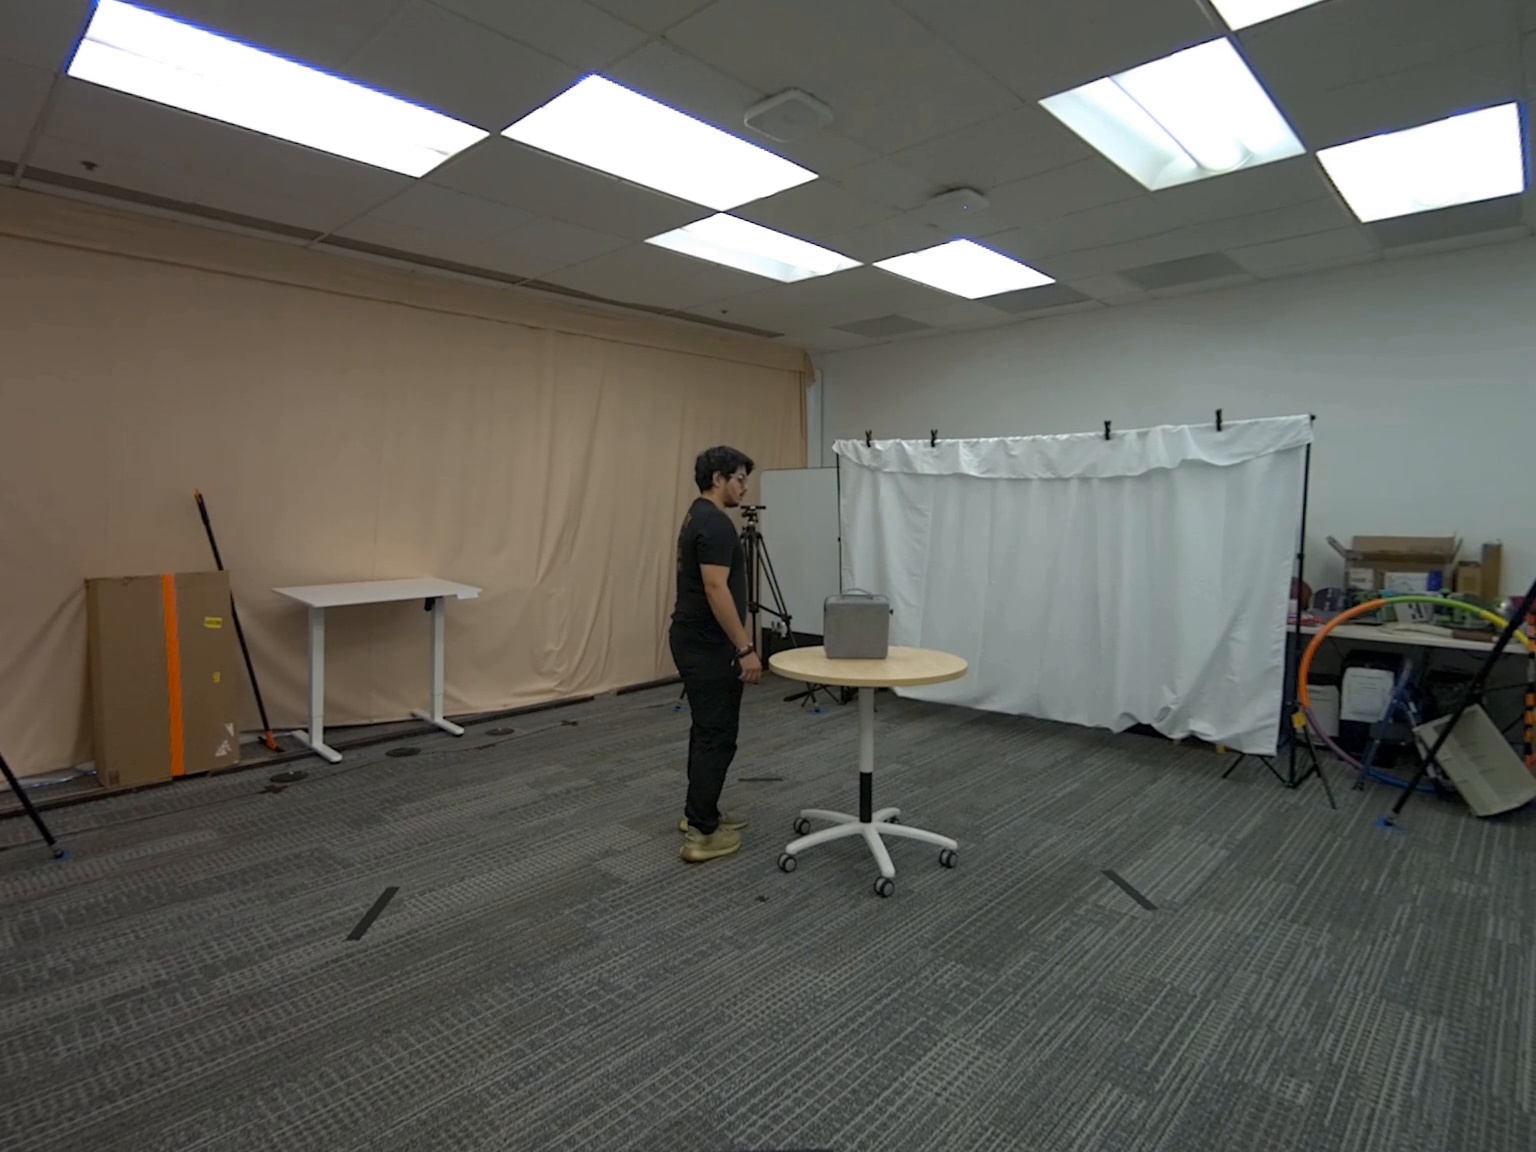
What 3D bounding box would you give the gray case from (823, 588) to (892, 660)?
[{"bbox_3d":[0.360,0.202,3.348,0.258,0.258,0.104,-1,12,4],"label":"gray case"}]
